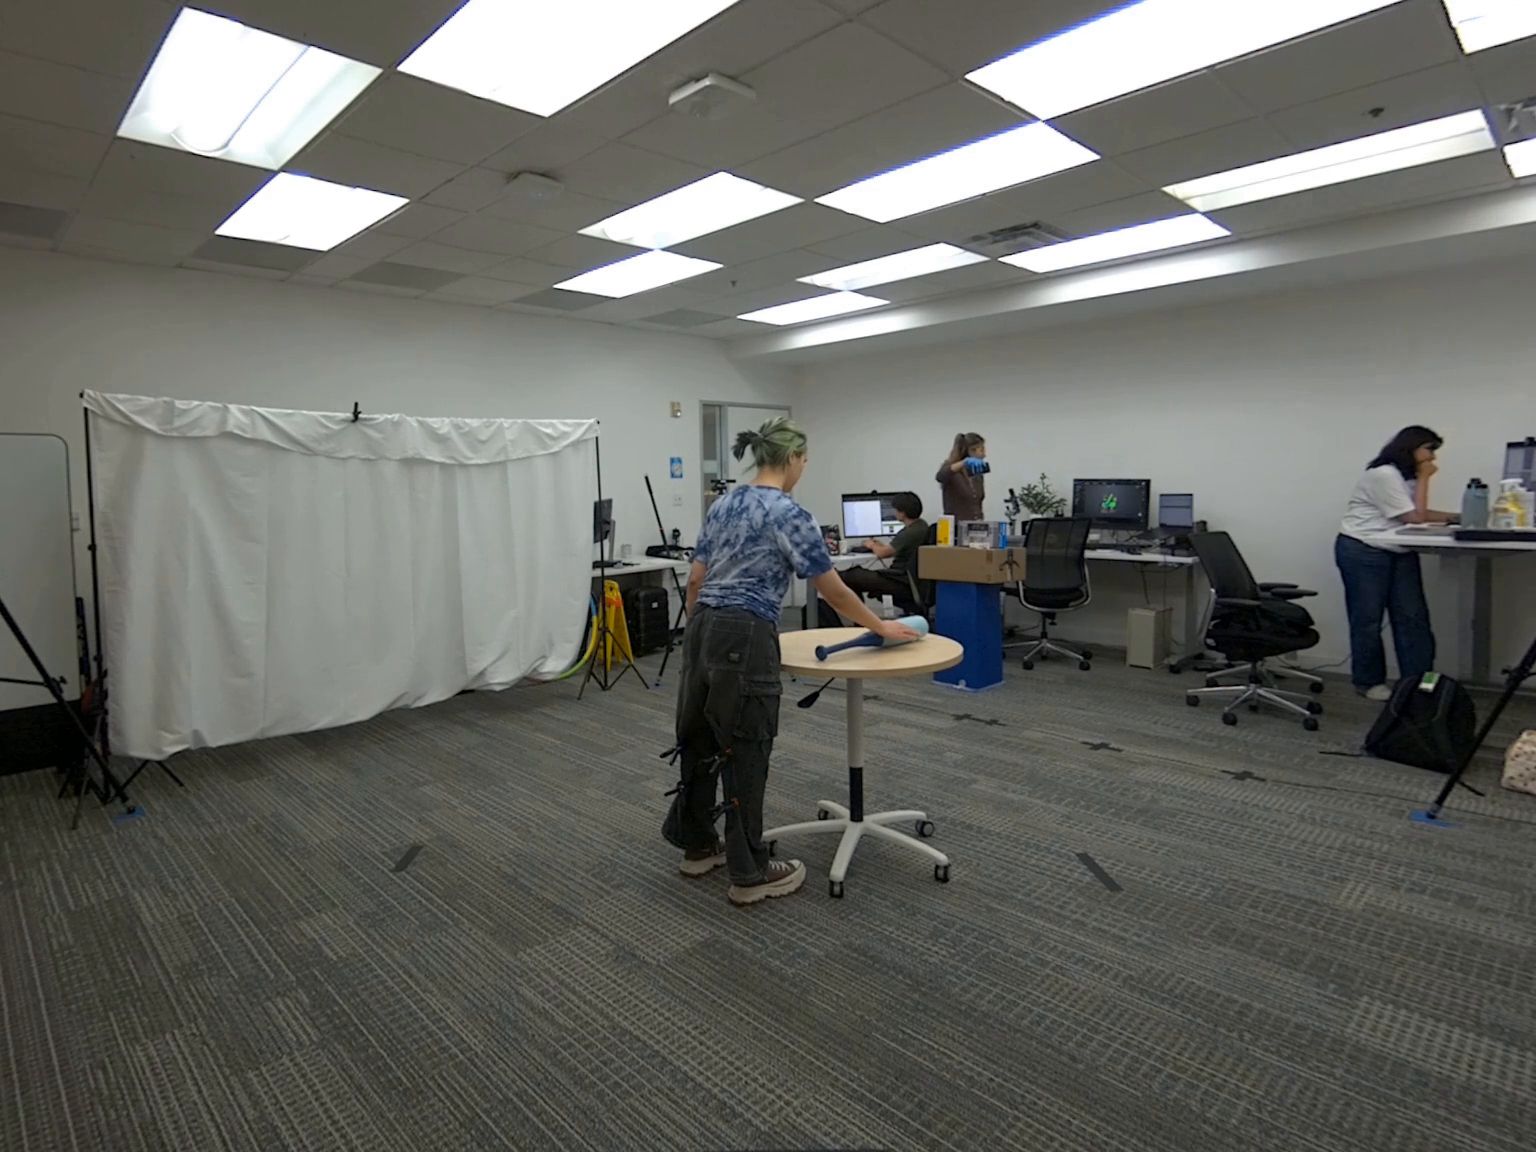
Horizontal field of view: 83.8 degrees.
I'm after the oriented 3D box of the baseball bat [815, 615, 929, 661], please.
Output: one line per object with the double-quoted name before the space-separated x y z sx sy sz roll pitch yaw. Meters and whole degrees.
"baseball bat" 0.383 0.228 3.035 0.530 0.088 0.092 -11 10 -40
